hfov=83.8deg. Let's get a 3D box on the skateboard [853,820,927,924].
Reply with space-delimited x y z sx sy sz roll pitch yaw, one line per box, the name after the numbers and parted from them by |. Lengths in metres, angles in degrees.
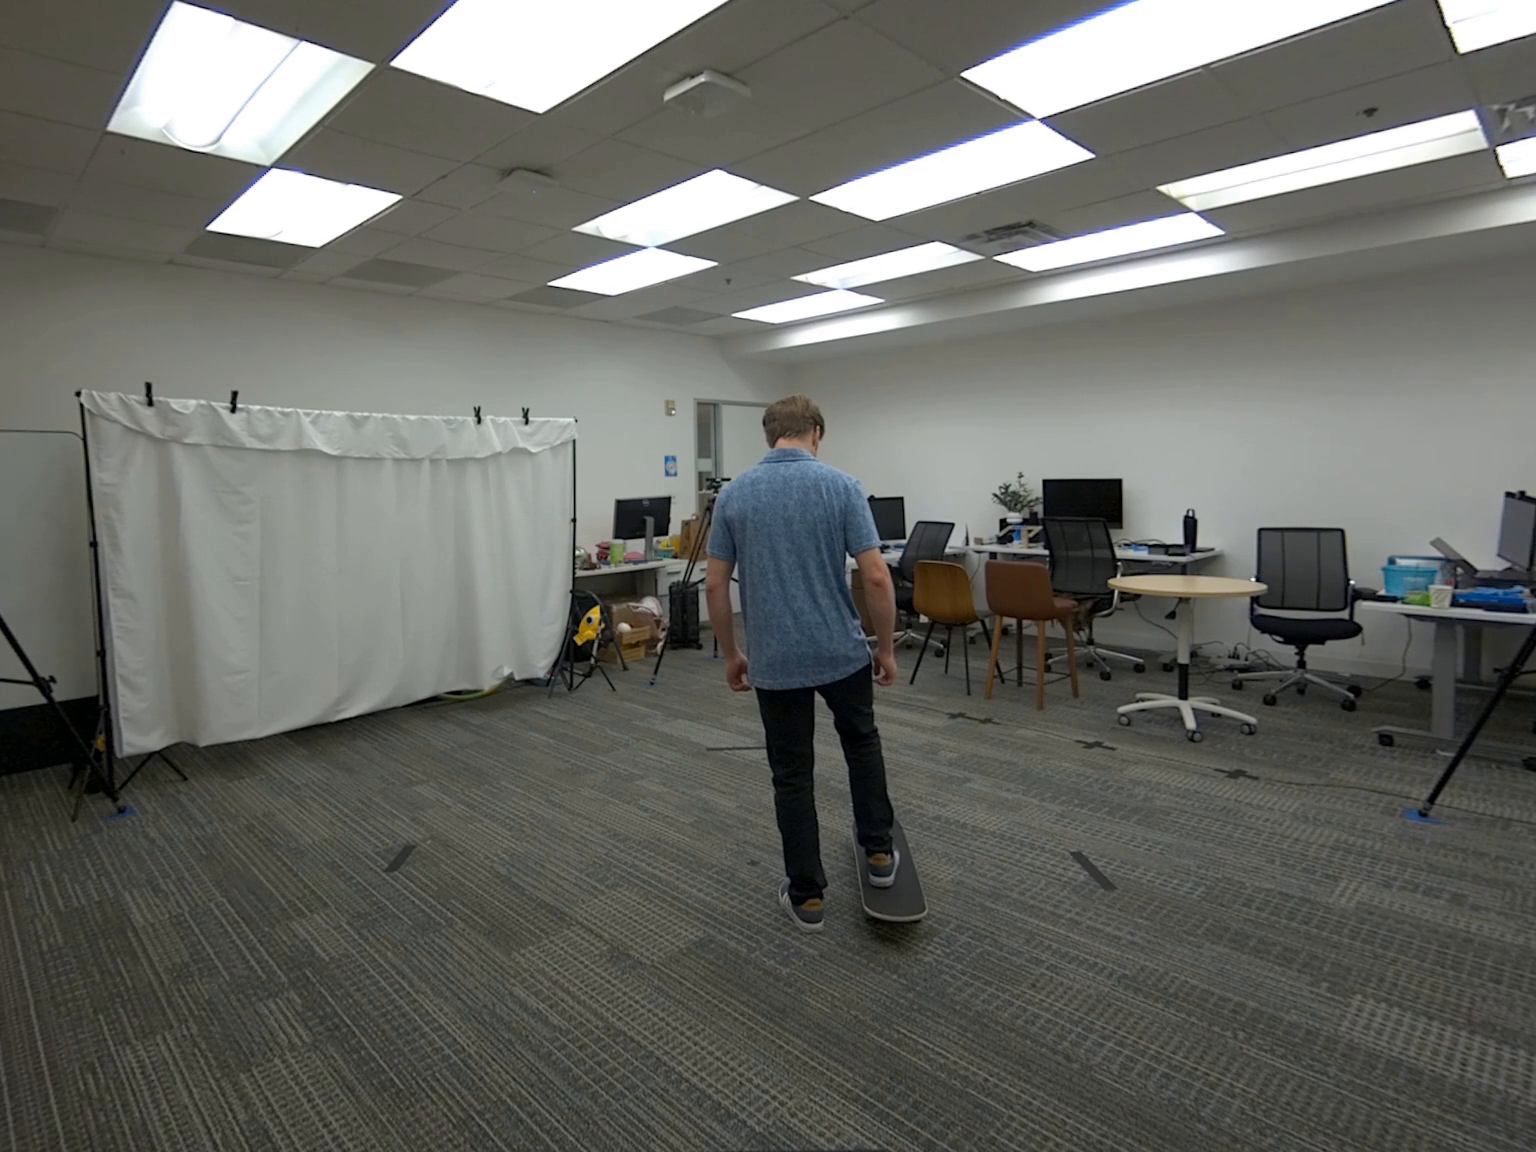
0.394 0.993 2.894 0.194 0.110 0.787 -2 7 2 | skateboard
